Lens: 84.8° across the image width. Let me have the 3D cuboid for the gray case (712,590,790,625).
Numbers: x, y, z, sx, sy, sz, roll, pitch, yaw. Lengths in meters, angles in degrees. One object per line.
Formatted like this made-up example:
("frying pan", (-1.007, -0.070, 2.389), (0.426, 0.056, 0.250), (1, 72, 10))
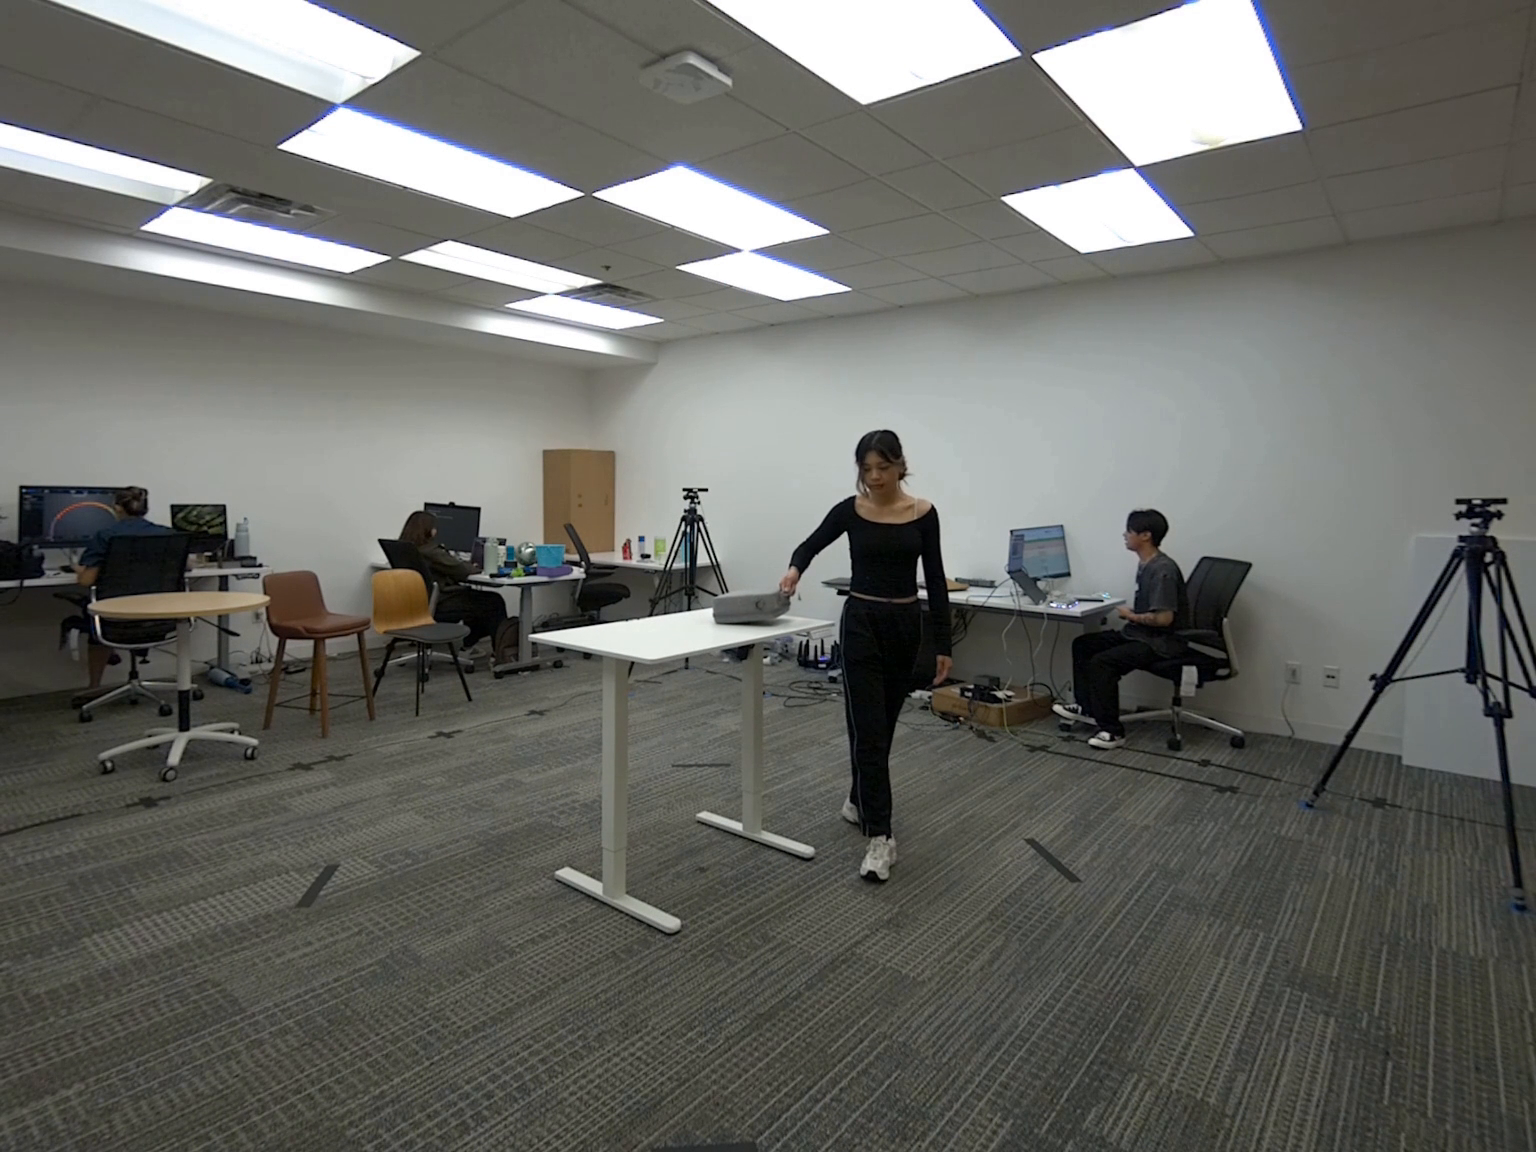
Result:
("gray case", (-0.075, 0.107, 3.267), (0.265, 0.104, 0.253), (-5, 2, 17))
